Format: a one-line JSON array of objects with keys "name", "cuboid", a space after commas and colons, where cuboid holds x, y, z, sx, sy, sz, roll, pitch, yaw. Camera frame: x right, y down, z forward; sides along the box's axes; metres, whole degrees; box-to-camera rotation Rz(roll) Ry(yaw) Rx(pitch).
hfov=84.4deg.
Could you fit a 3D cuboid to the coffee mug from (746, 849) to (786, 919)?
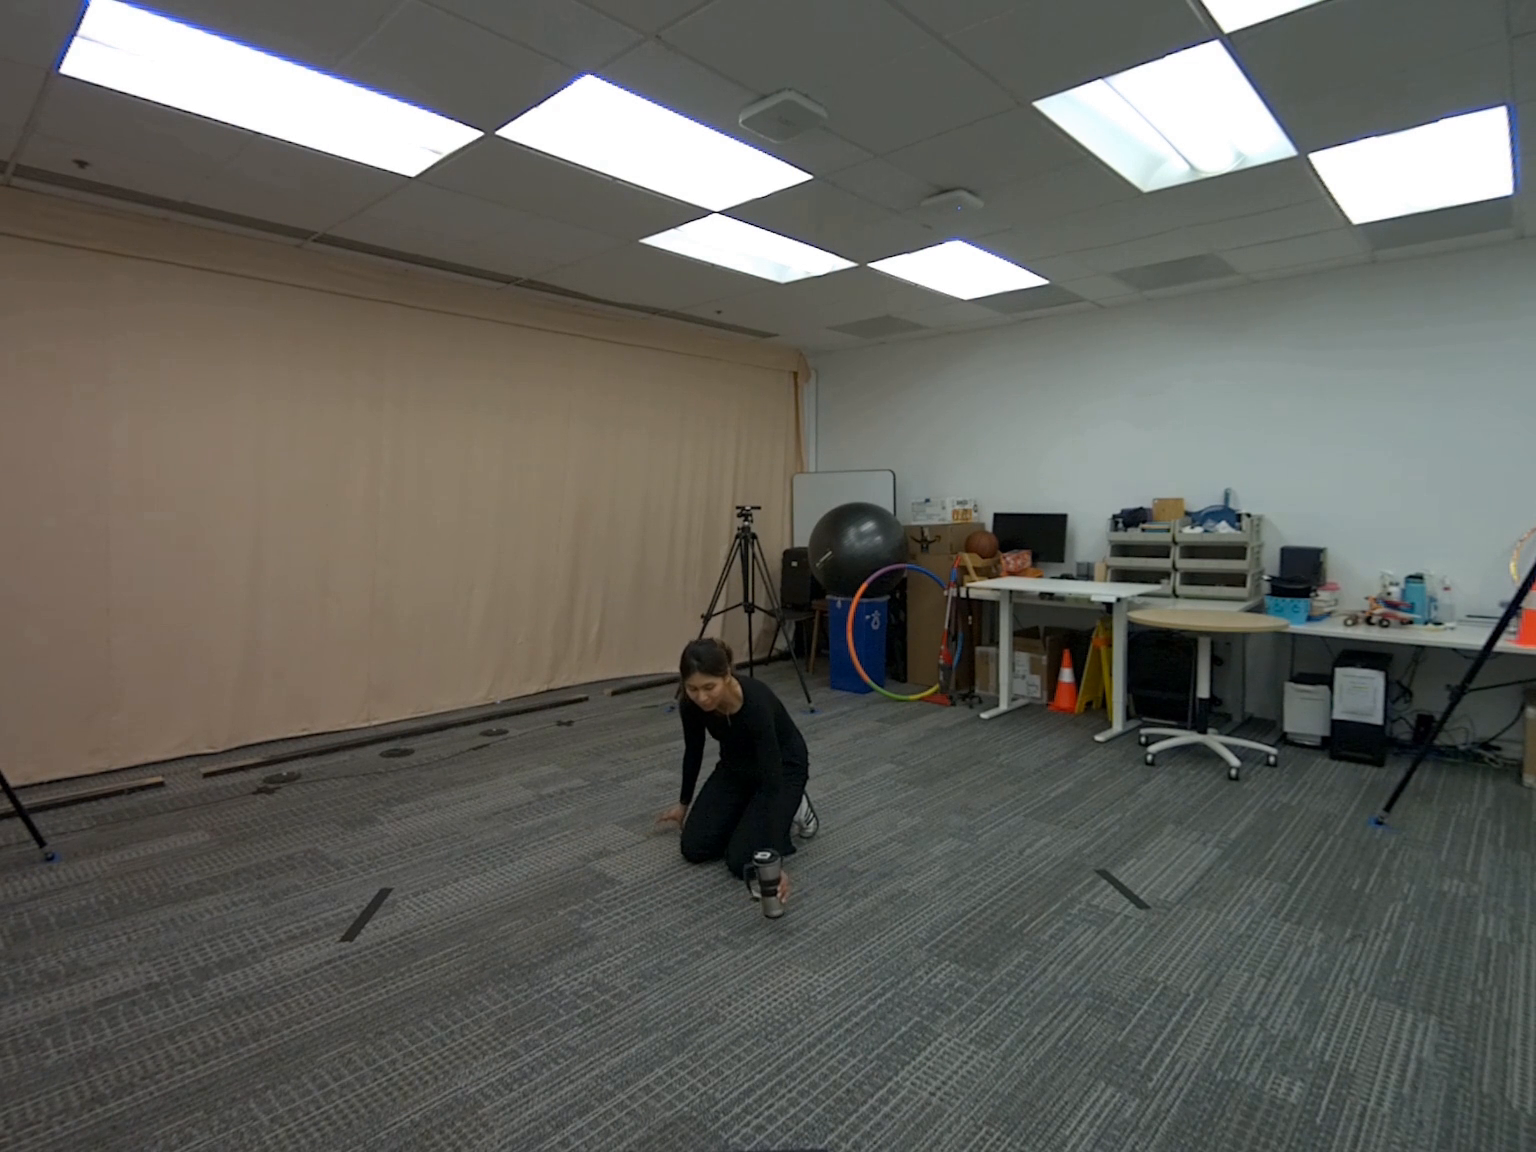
[{"name": "coffee mug", "cuboid": [-0.029, 1.001, 2.754, 0.124, 0.202, 0.086, -5, 6, 19]}]
